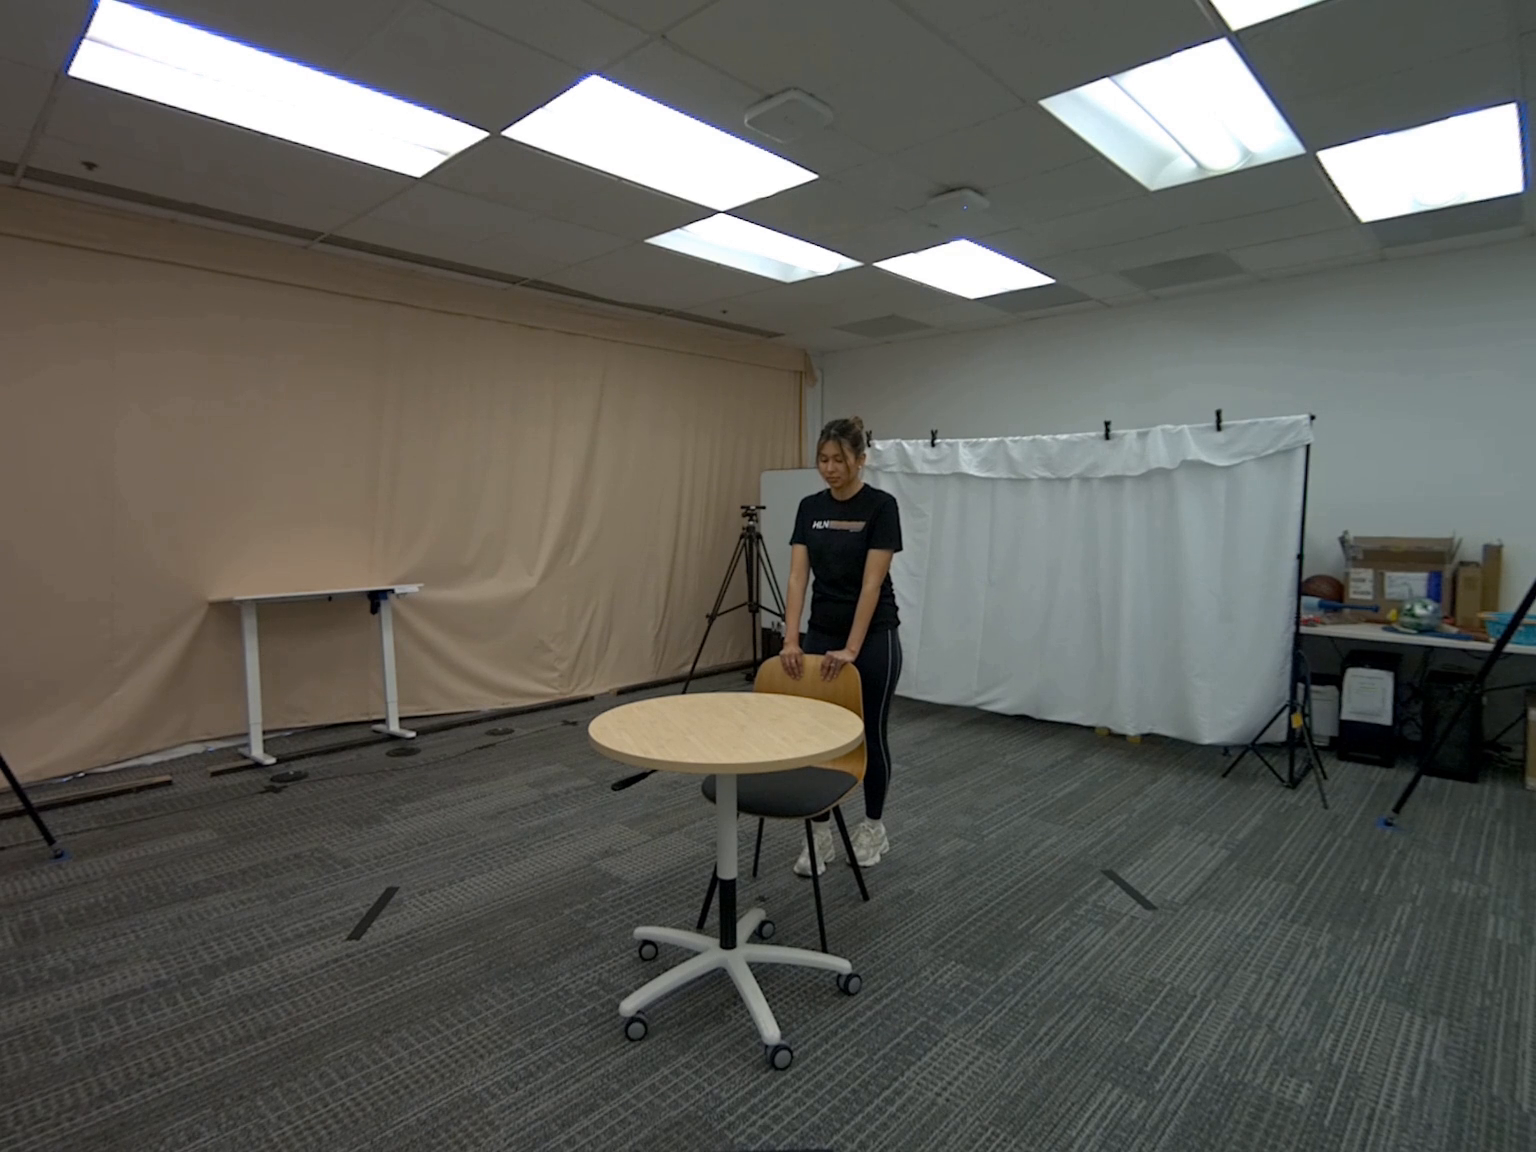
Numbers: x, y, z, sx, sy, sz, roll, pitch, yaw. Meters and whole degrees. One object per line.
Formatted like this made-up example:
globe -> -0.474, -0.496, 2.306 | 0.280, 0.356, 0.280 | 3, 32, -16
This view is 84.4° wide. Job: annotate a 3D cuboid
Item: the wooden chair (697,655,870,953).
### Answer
wooden chair -> 0.063, 0.725, 2.833 | 0.490, 0.877, 0.510 | 2, 0, 25
